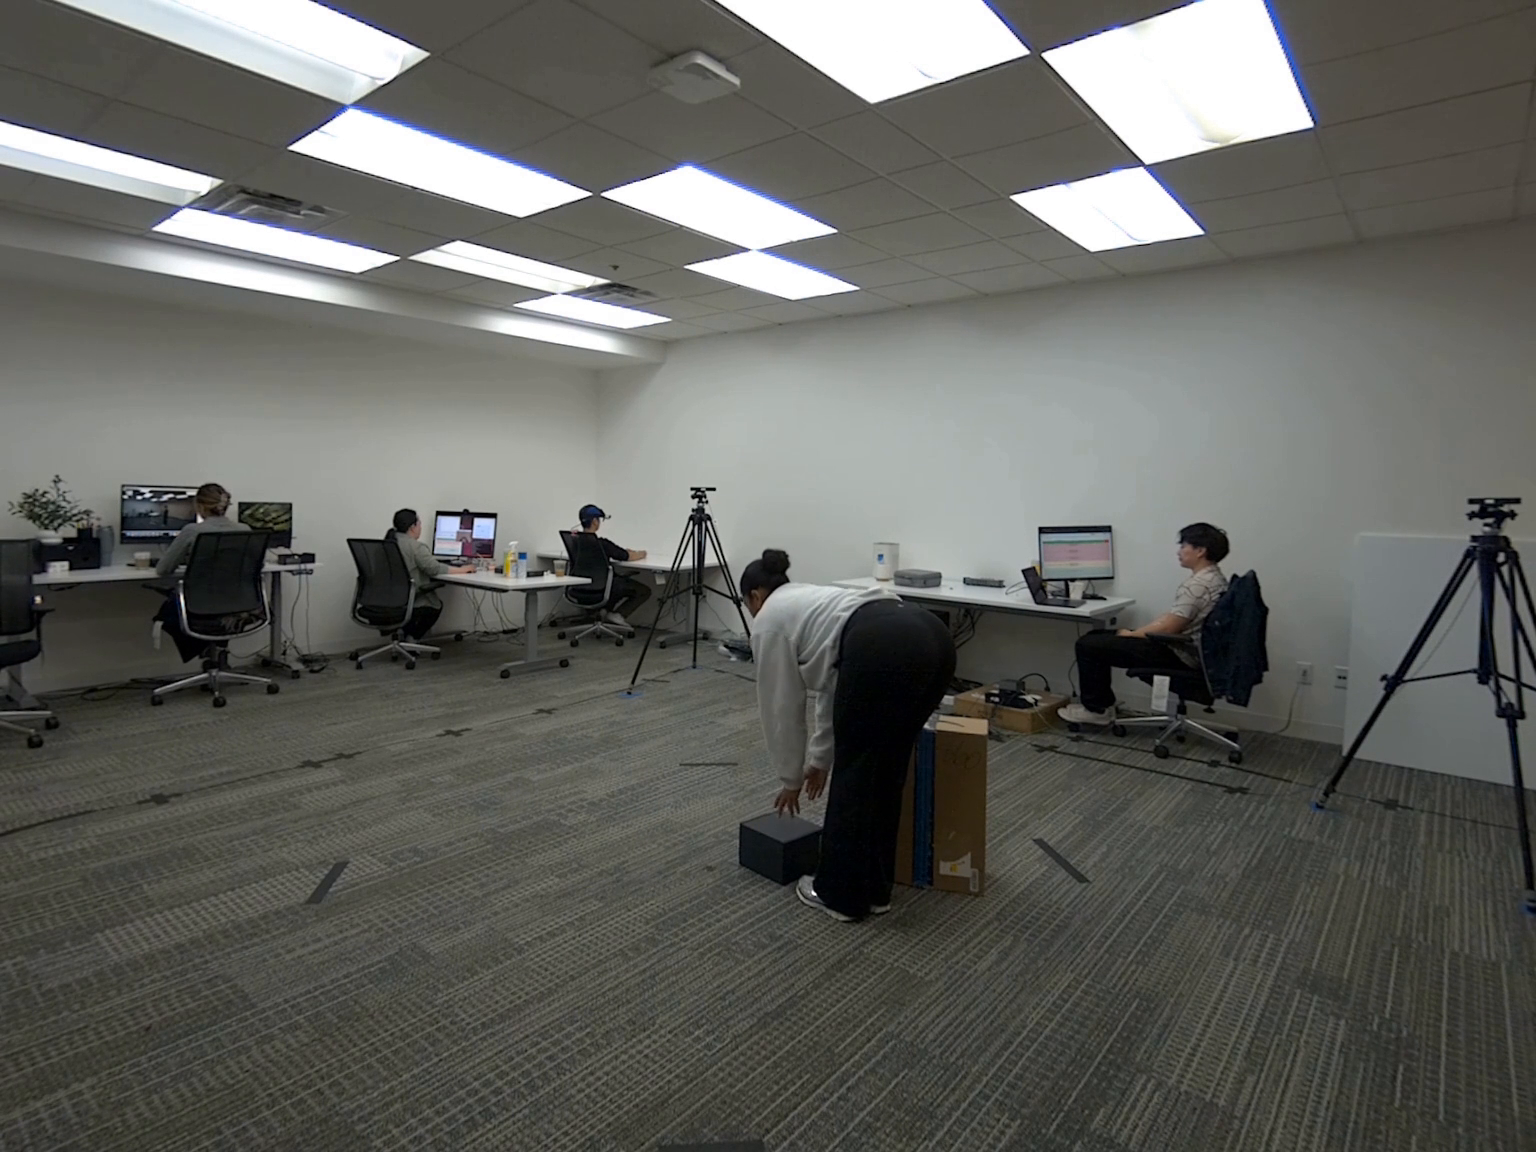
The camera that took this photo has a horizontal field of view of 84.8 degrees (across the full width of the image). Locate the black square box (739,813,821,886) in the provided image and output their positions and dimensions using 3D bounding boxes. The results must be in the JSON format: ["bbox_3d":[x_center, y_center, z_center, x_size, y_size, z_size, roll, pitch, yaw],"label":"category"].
[{"bbox_3d":[0.040,0.989,3.133,0.210,0.155,0.236,-3,6,-44],"label":"black square box"}]
